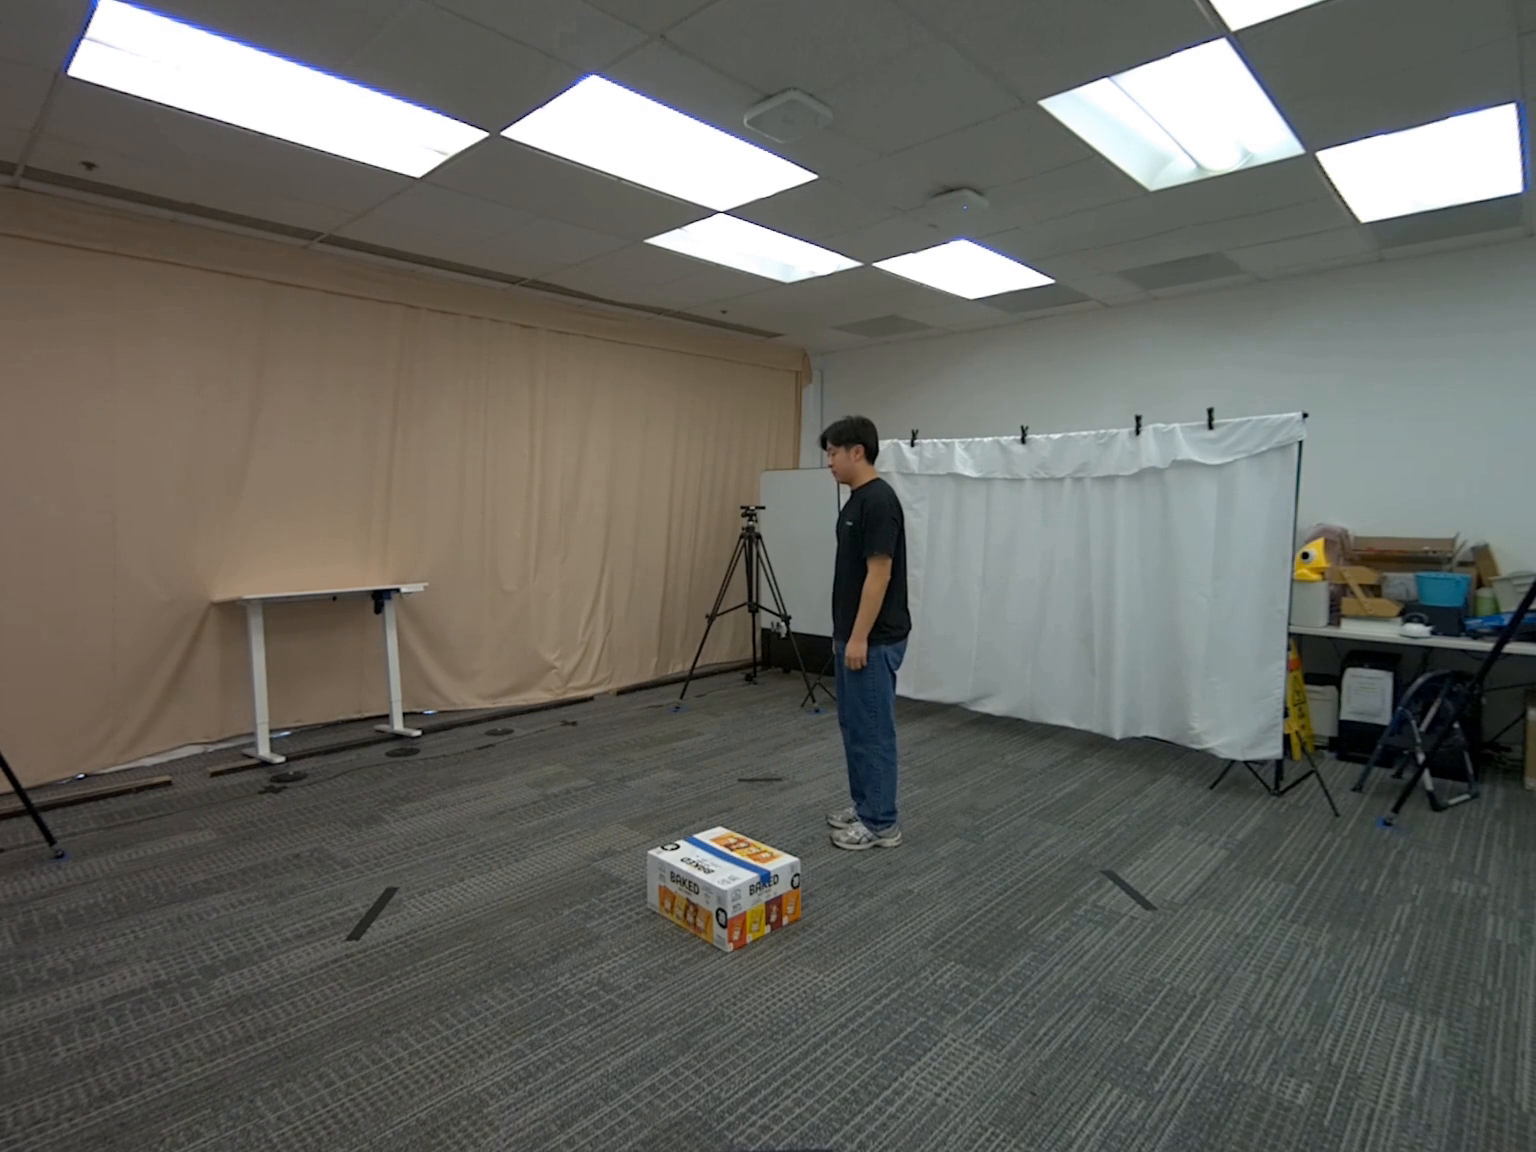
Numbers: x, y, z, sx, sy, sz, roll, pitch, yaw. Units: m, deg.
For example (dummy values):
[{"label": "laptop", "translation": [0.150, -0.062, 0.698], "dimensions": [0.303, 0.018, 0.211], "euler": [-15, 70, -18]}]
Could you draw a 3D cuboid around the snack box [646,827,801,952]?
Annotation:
[{"label": "snack box", "translation": [-0.152, 1.053, 2.869], "dimensions": [0.330, 0.205, 0.419], "euler": [-4, 6, -44]}]
